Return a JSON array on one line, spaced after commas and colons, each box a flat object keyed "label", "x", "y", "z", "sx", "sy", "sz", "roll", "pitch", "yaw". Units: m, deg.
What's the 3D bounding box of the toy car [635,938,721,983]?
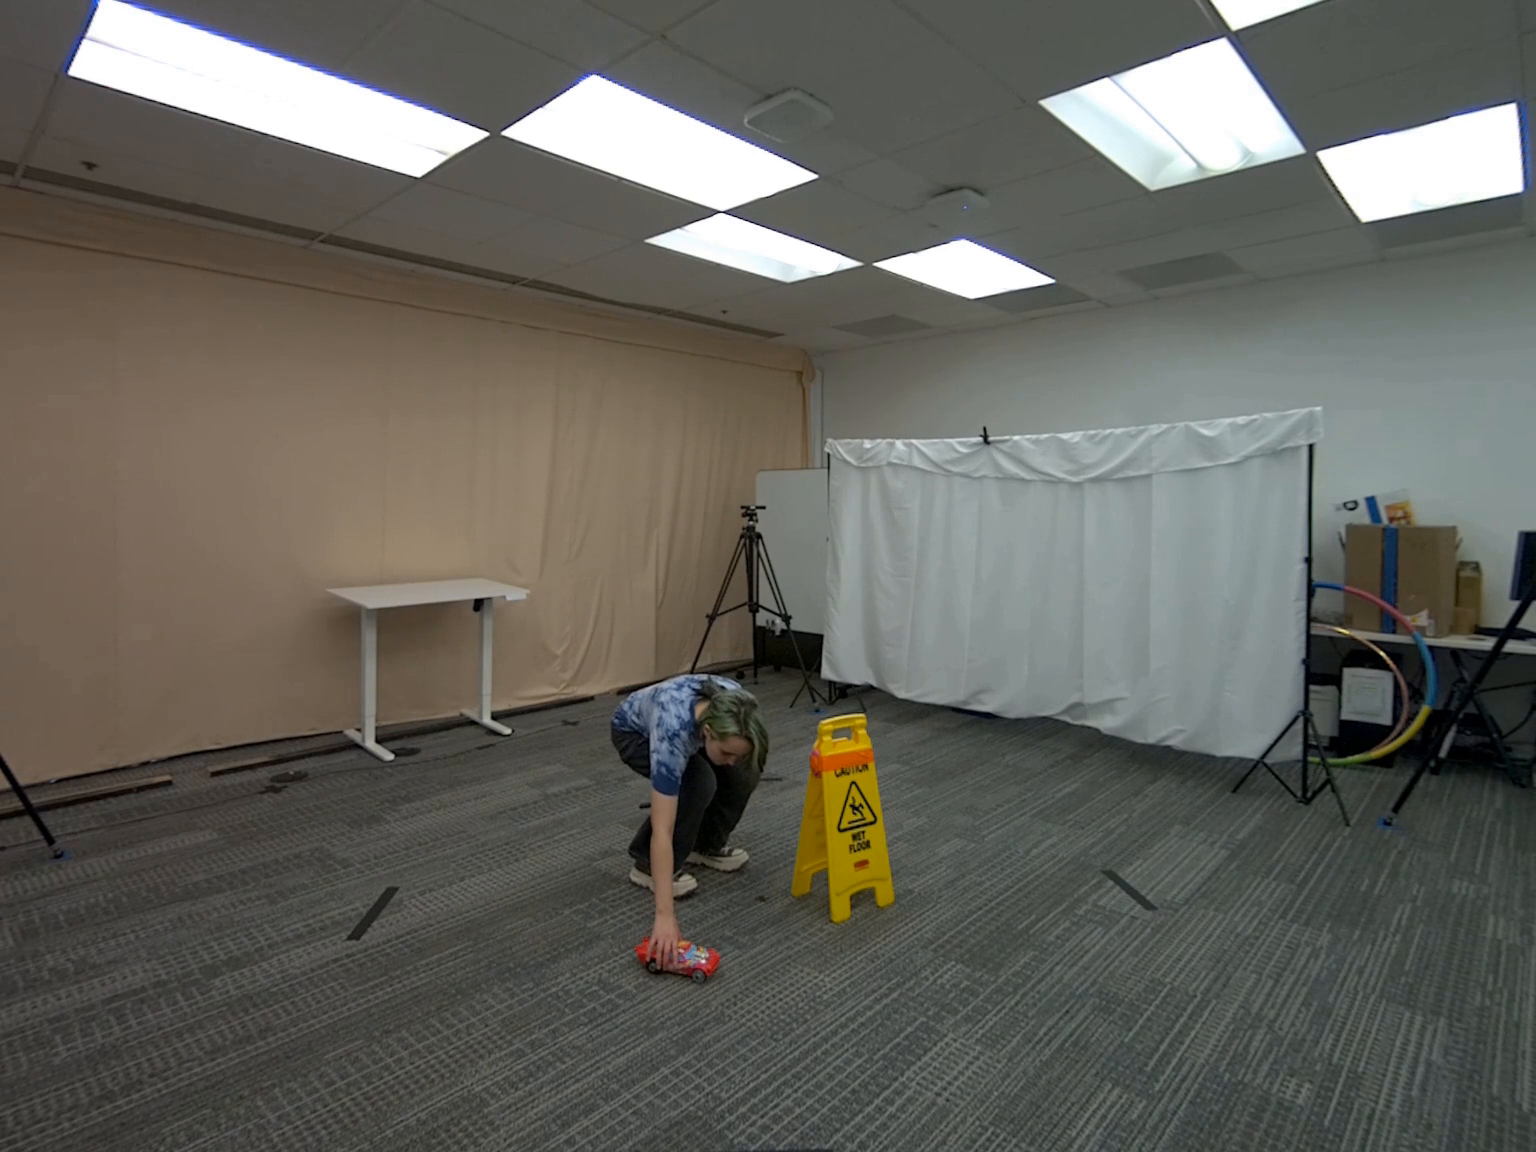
[{"label": "toy car", "x": -0.279, "y": 1.144, "z": 2.544, "sx": 0.260, "sy": 0.083, "sz": 0.128, "roll": 13, "pitch": 10, "yaw": 19}]
